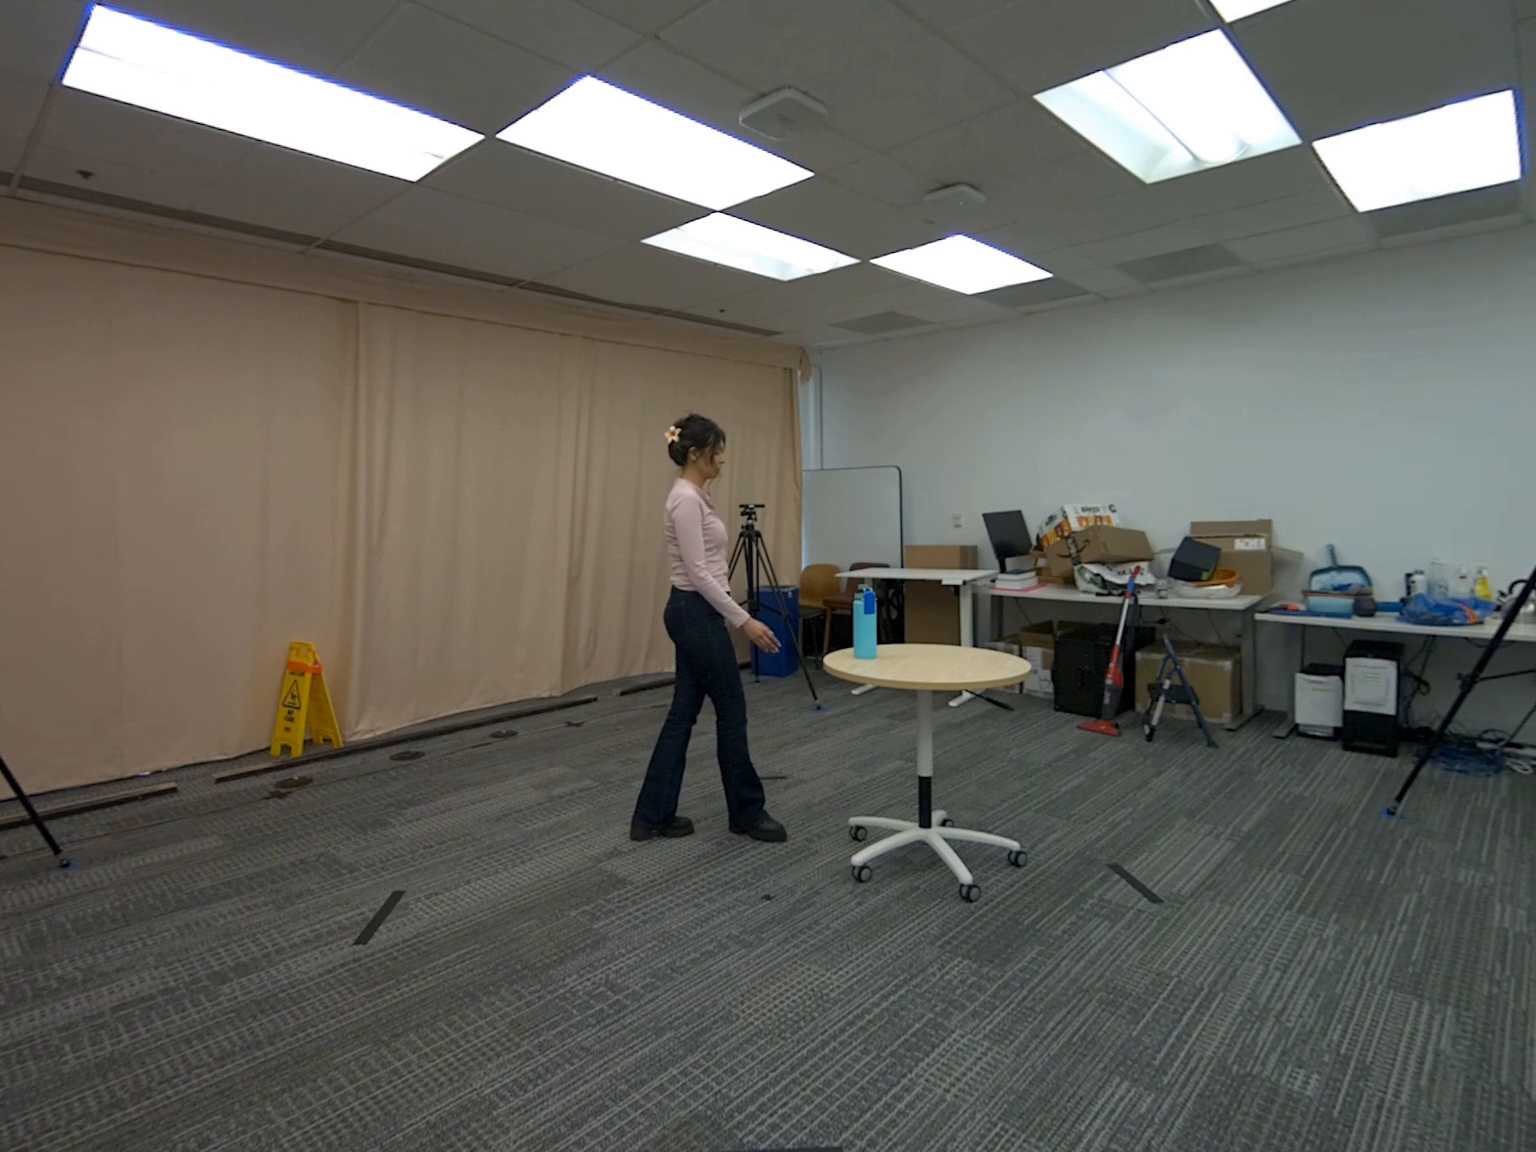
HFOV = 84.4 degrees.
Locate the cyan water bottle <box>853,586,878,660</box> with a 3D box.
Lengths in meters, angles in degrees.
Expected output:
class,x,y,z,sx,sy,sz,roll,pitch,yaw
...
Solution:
class,x,y,z,sx,sy,sz,roll,pitch,yaw
cyan water bottle,0.399,0.181,3.307,0.092,0.283,0.092,1,2,-2
